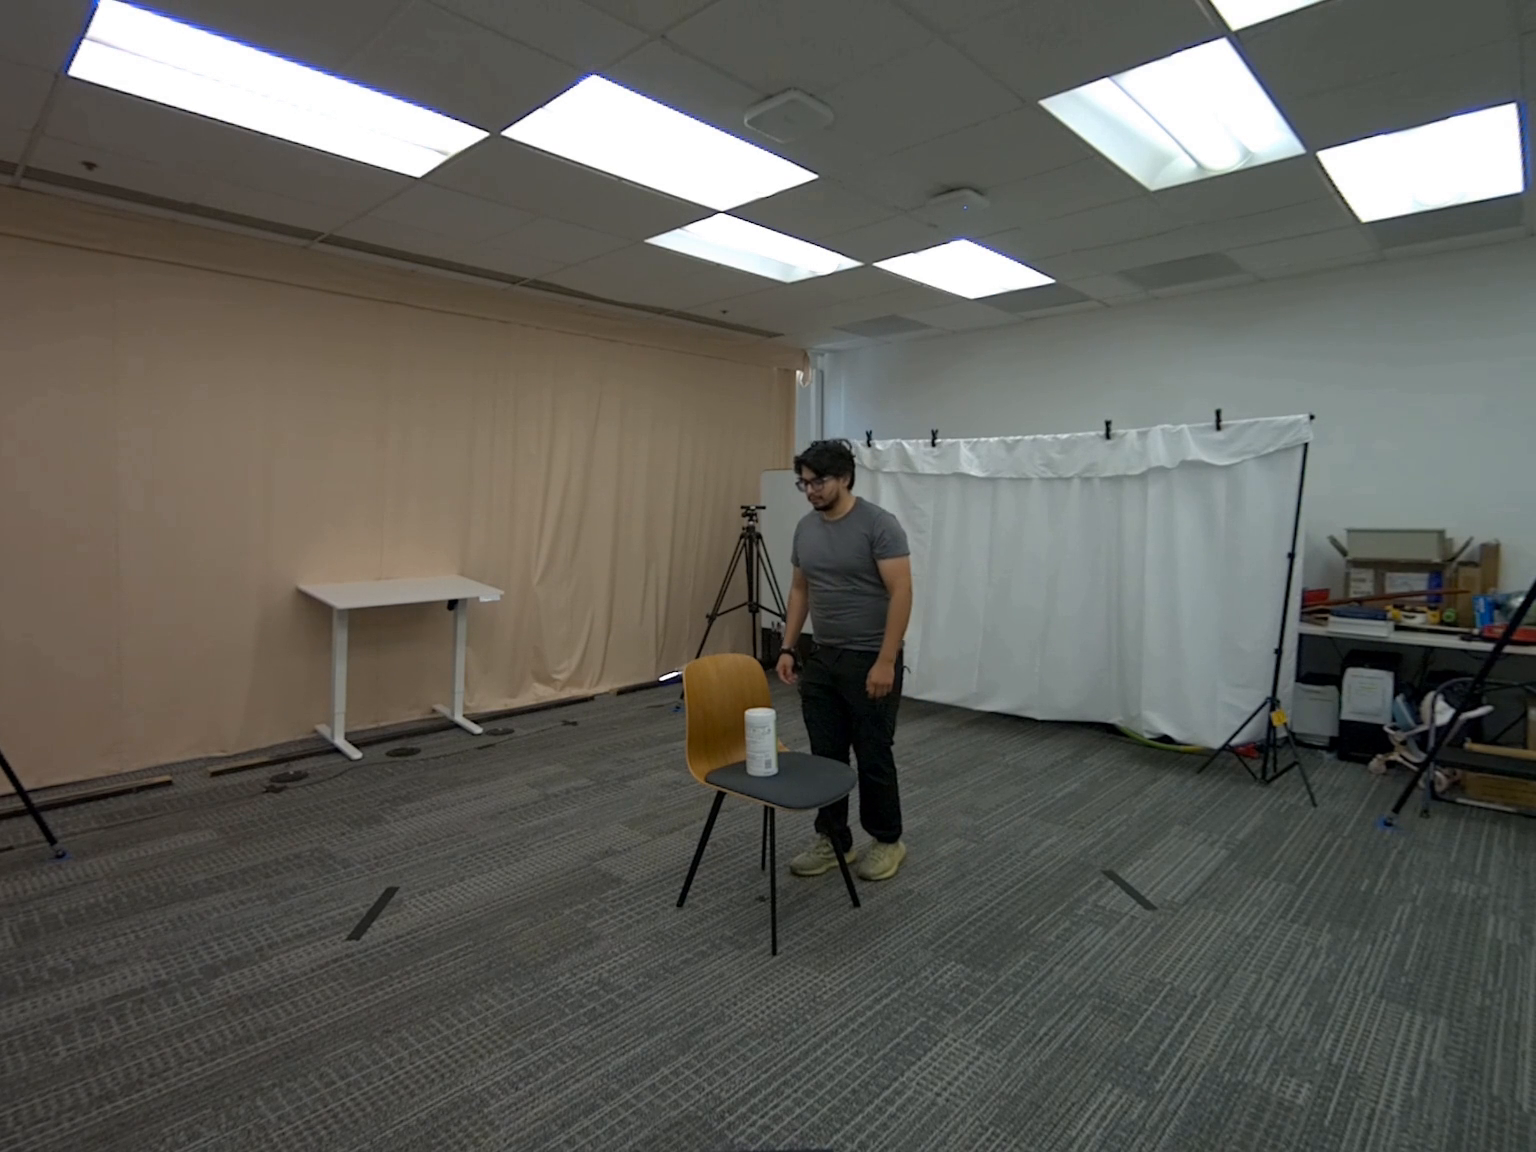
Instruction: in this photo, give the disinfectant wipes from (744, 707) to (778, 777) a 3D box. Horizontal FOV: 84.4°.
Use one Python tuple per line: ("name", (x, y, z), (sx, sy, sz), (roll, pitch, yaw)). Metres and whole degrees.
("disinfectant wipes", (-0.025, 0.572, 2.906), (0.118, 0.217, 0.118), (-1, 2, -2))
